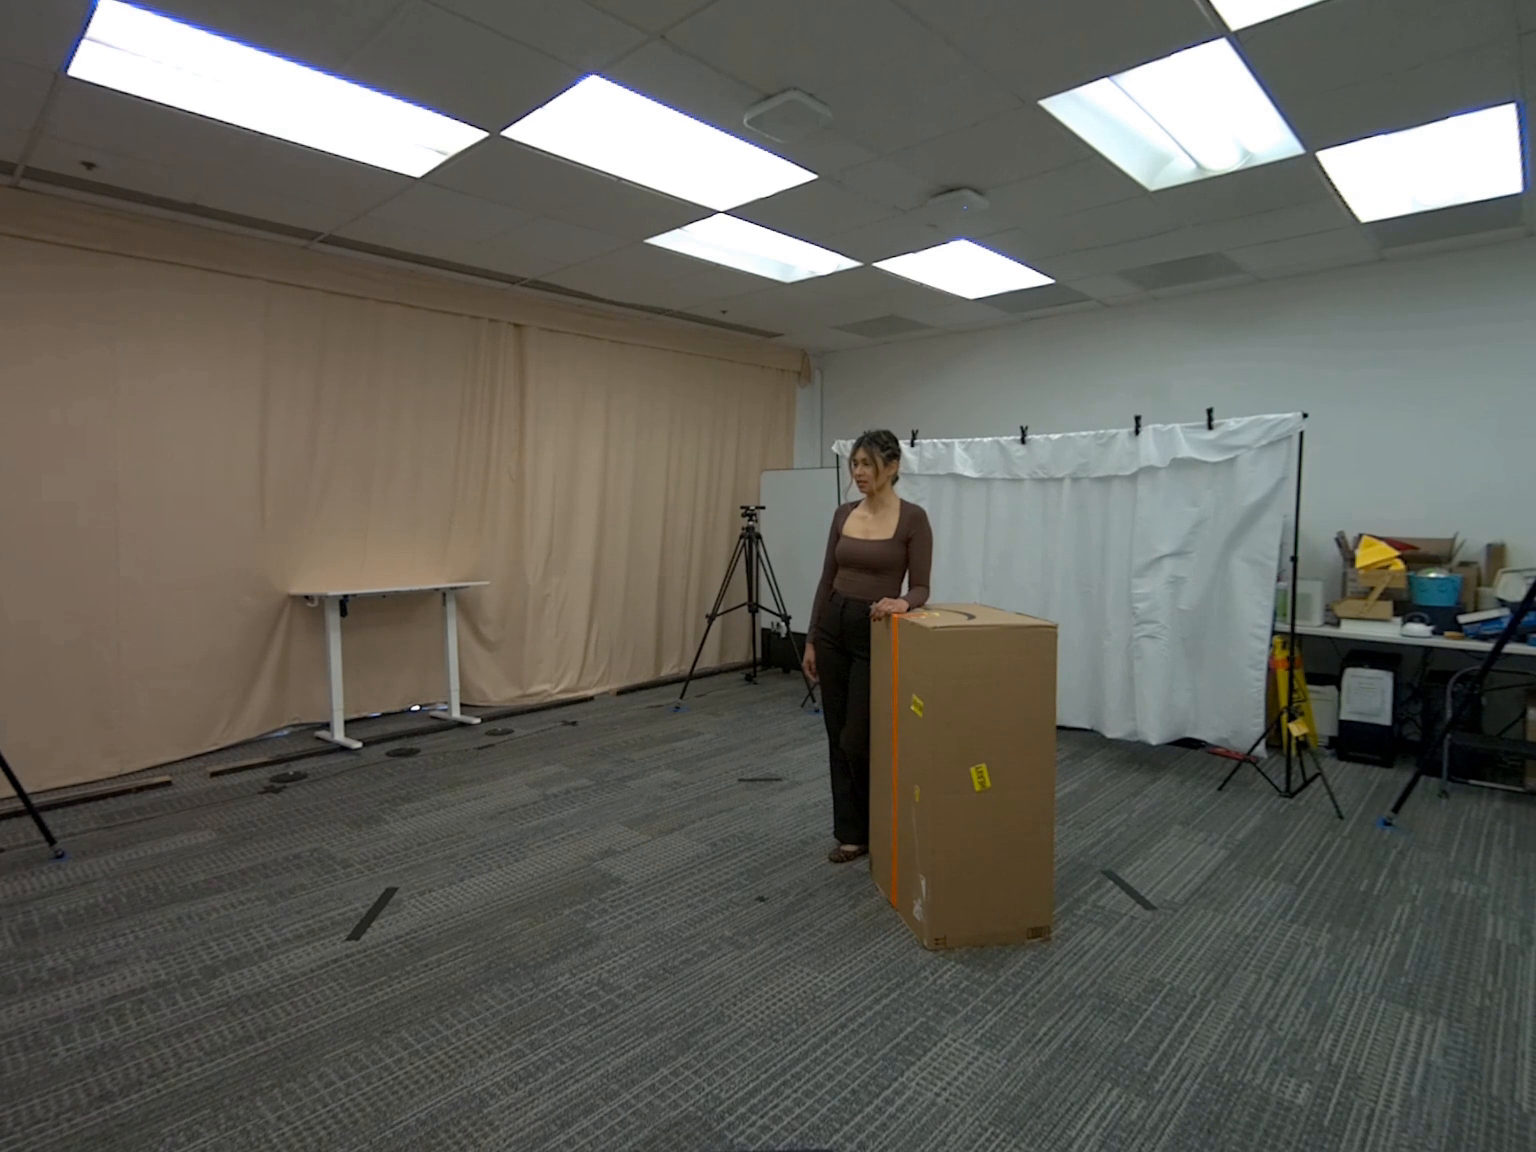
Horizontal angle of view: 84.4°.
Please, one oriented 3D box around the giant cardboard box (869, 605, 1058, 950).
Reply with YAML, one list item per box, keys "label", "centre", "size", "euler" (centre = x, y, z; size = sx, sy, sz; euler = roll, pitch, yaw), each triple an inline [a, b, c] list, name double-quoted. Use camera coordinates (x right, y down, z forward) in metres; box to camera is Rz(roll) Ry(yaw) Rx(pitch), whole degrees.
- label: "giant cardboard box"
  centre: [0.653, 0.641, 2.910]
  size: [0.442, 1.025, 0.592]
  euler: [0, 3, -11]
